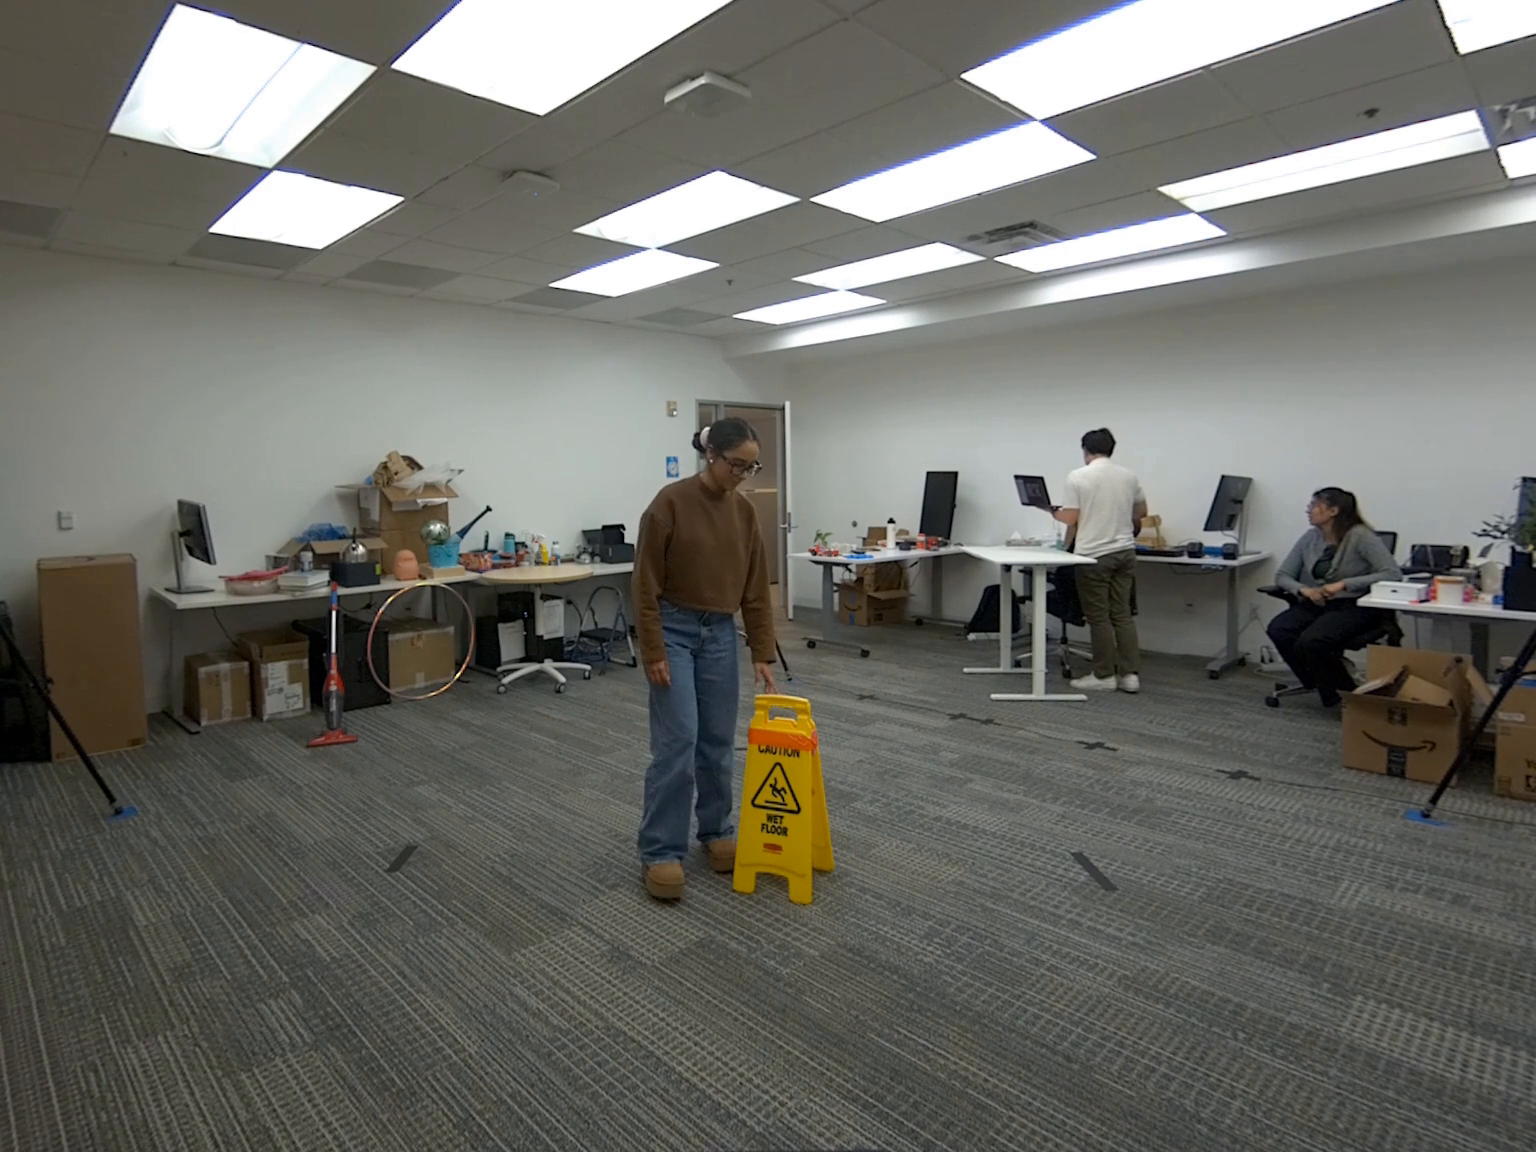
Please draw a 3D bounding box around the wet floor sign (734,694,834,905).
[{"bbox_3d":[0.054,0.732,2.944,0.288,0.644,0.285,0,4,22],"label":"wet floor sign"}]
